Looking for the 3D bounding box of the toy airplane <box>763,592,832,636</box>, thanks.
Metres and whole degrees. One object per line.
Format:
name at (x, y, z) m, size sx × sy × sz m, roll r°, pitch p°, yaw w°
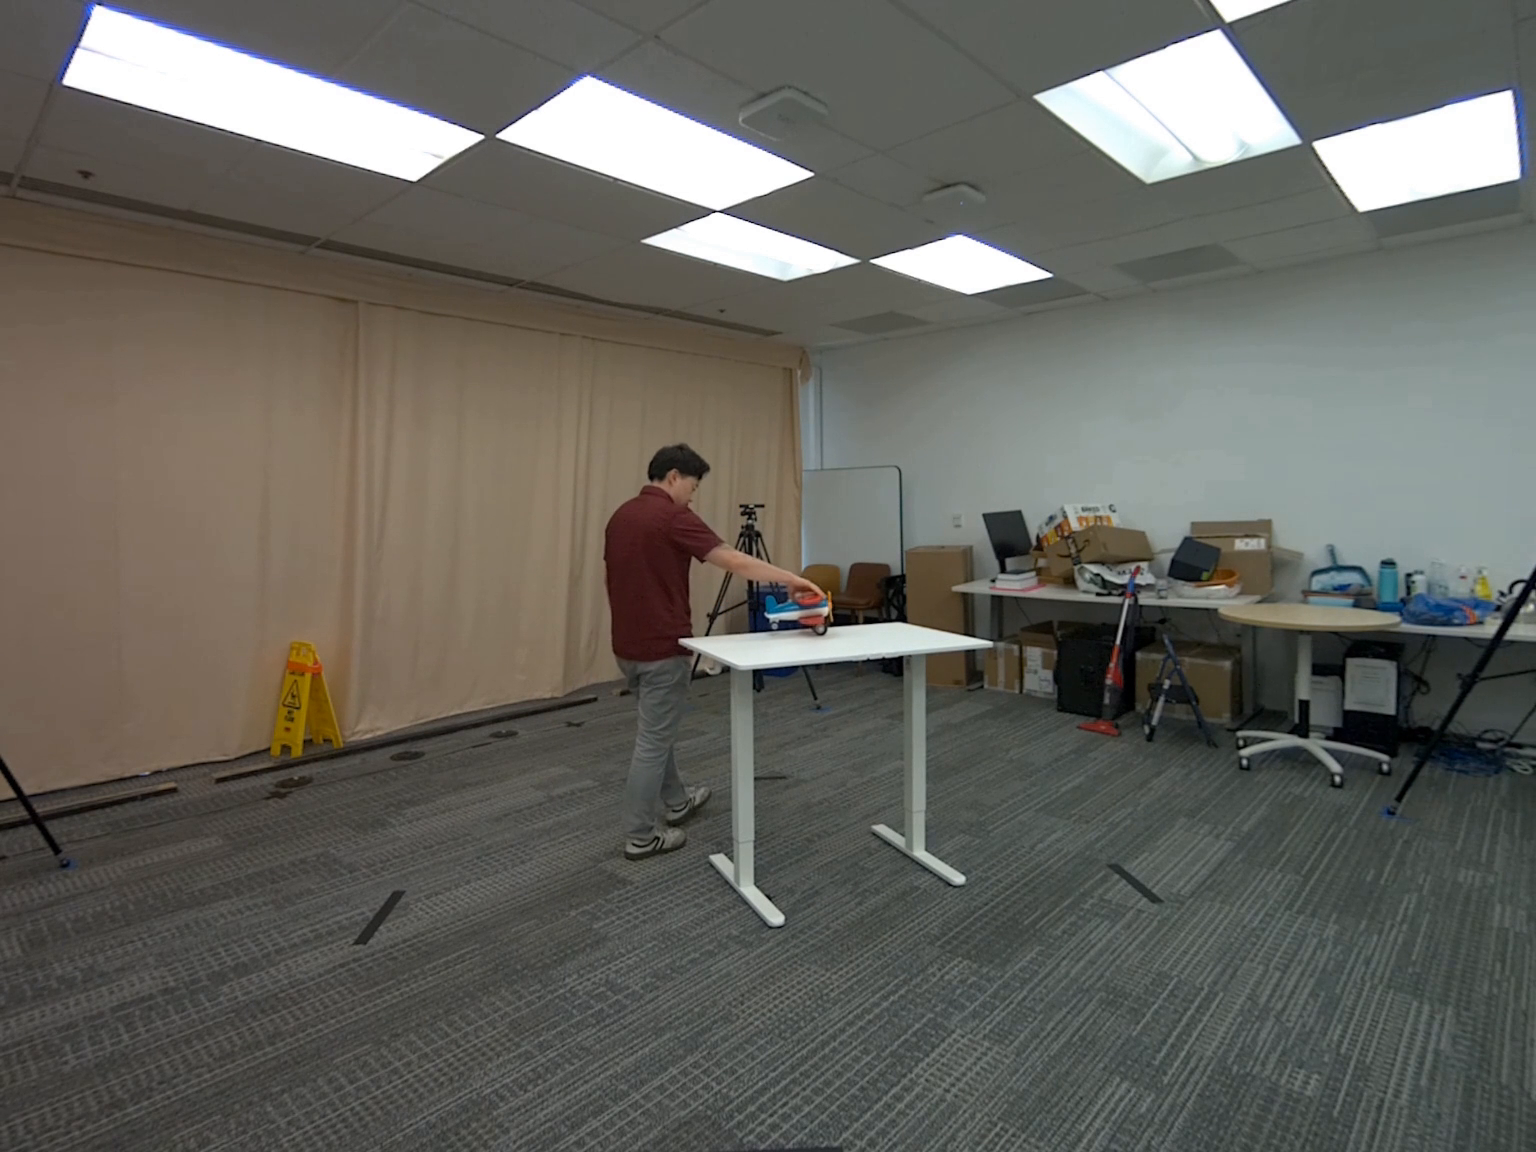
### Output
toy airplane at (0.127, 0.144, 3.276) m, size 0.252 × 0.156 × 0.259 m, roll 5°, pitch 4°, yaw -31°
